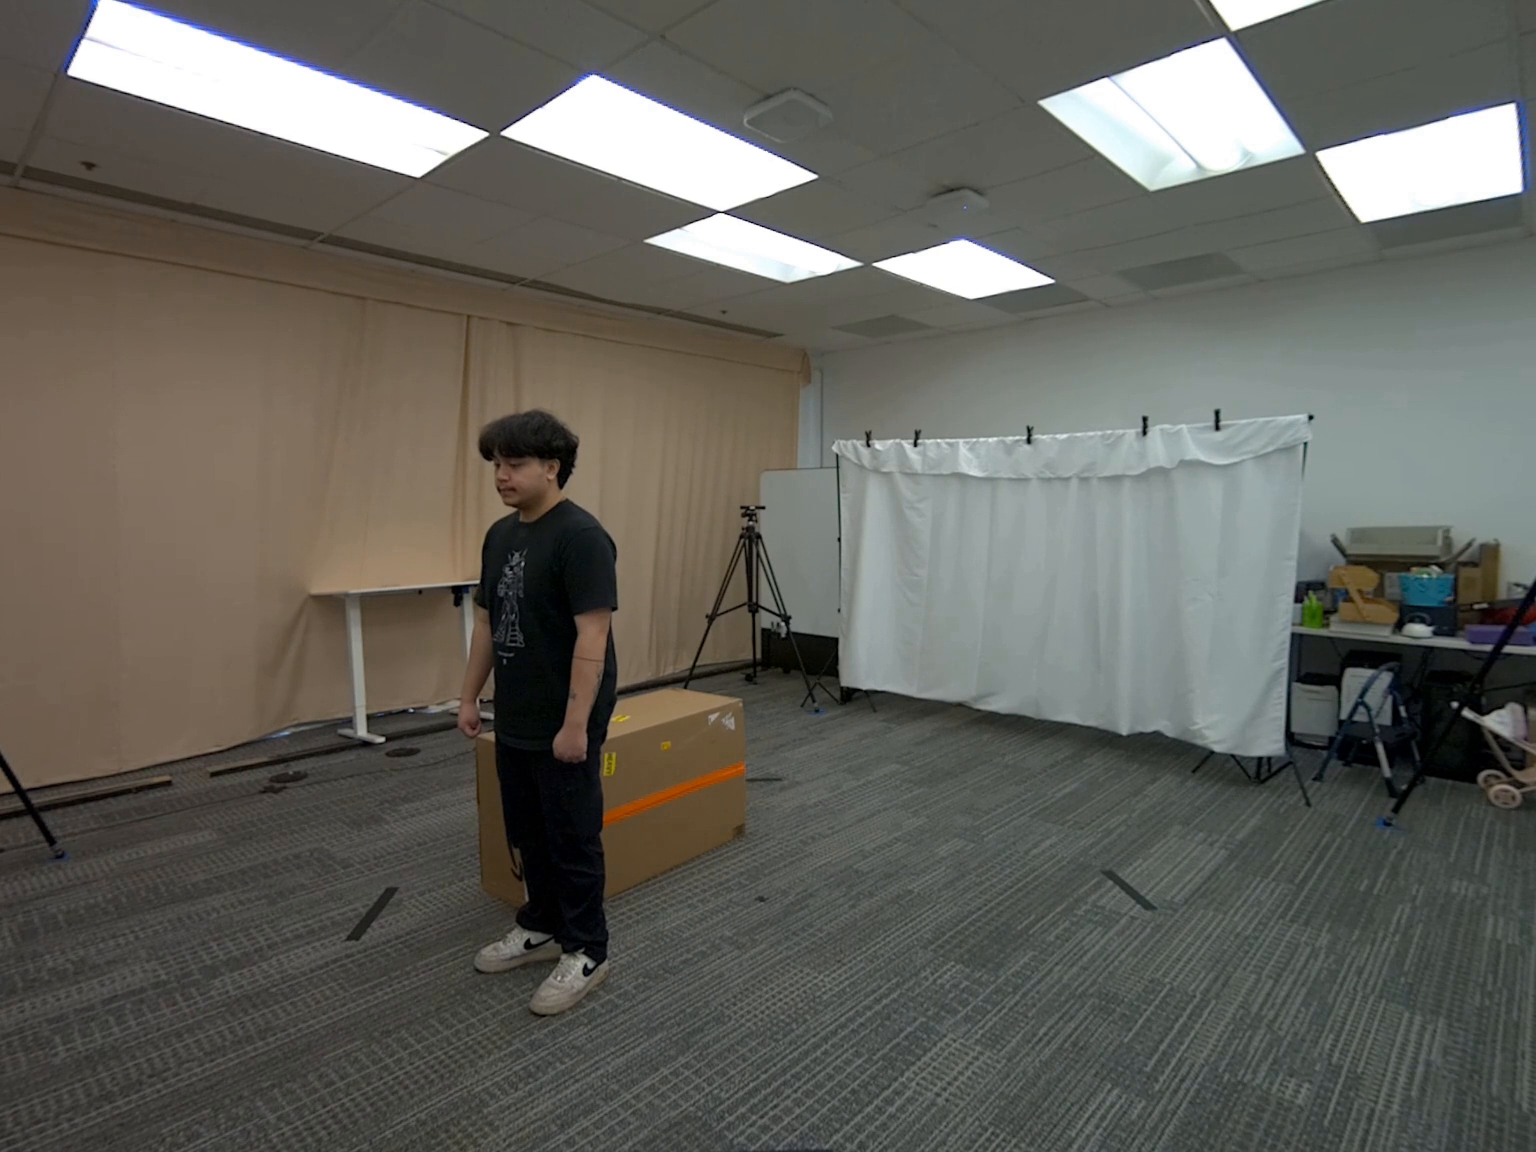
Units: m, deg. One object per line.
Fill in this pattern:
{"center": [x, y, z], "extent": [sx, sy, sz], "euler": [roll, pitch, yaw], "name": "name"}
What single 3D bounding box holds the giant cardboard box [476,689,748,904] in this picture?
{"center": [-0.577, 0.834, 3.311], "extent": [0.461, 0.582, 0.997], "euler": [3, 6, 39], "name": "giant cardboard box"}
